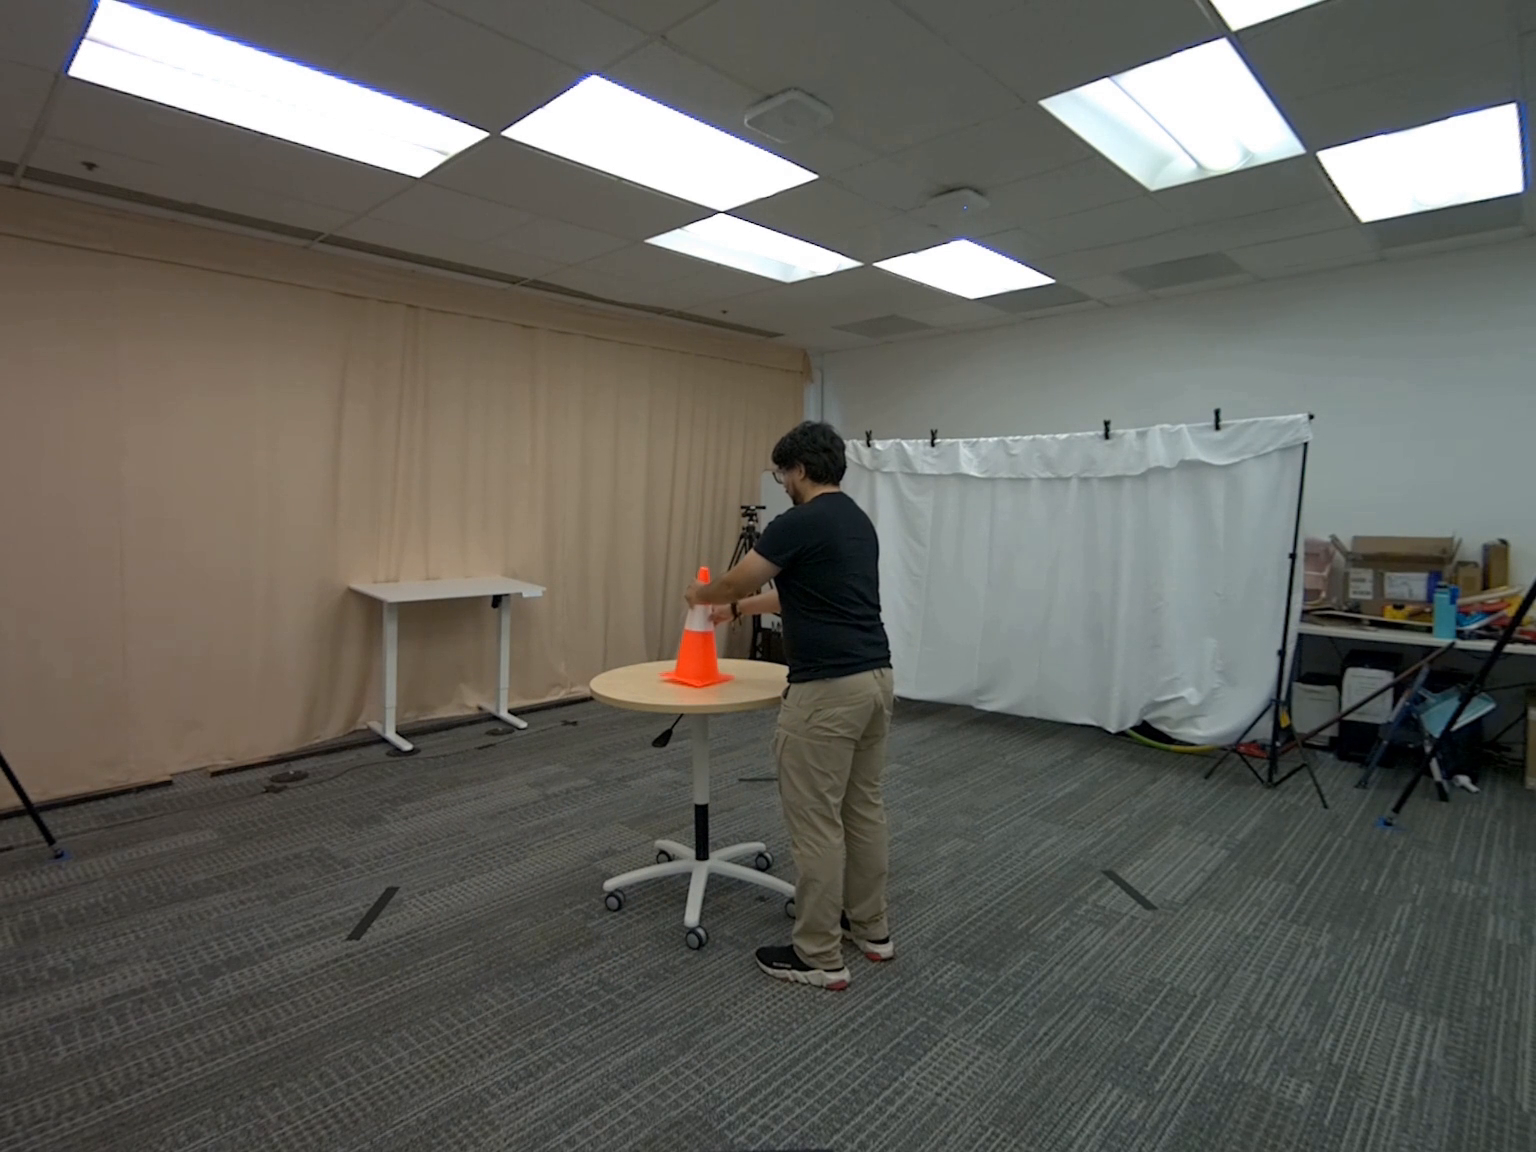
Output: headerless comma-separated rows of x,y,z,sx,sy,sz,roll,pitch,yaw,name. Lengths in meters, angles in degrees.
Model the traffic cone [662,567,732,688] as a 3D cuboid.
-0.239,0.164,2.932,0.211,0.383,0.197,5,3,32,traffic cone
